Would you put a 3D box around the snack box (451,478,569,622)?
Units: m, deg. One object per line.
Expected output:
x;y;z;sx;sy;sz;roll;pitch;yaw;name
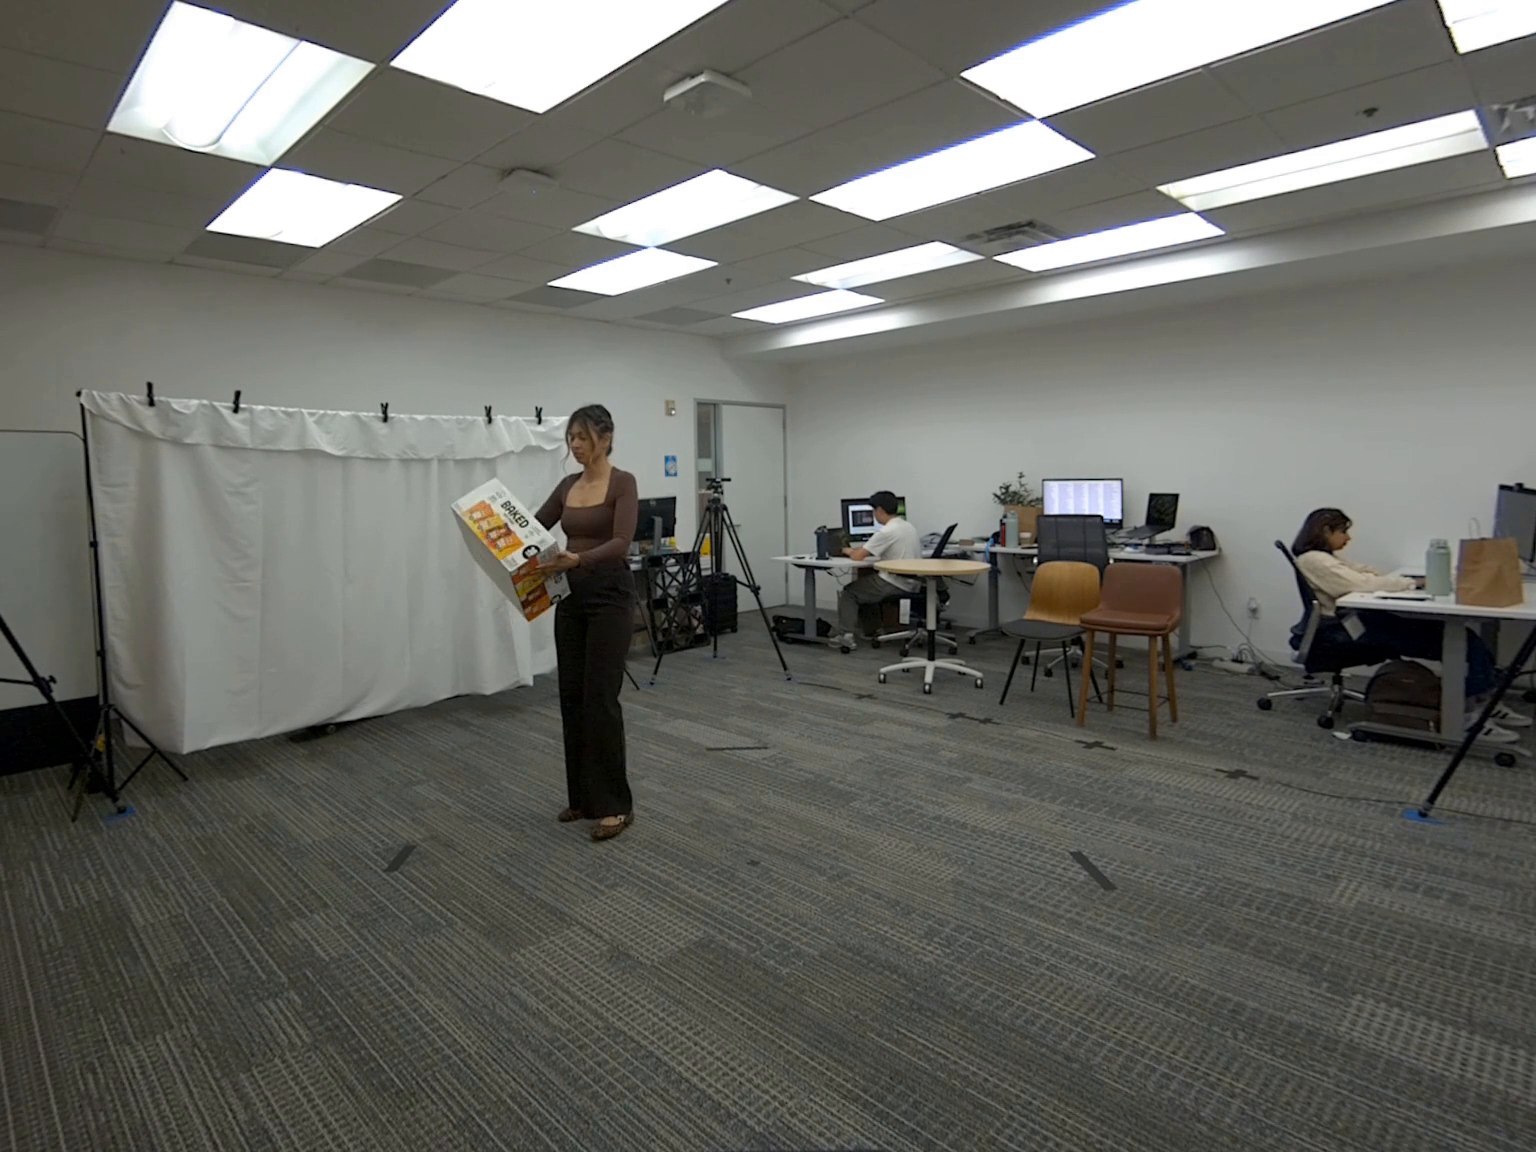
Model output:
-0.971;-0.099;3.237;0.204;0.332;0.418;-35;62;-24;snack box
